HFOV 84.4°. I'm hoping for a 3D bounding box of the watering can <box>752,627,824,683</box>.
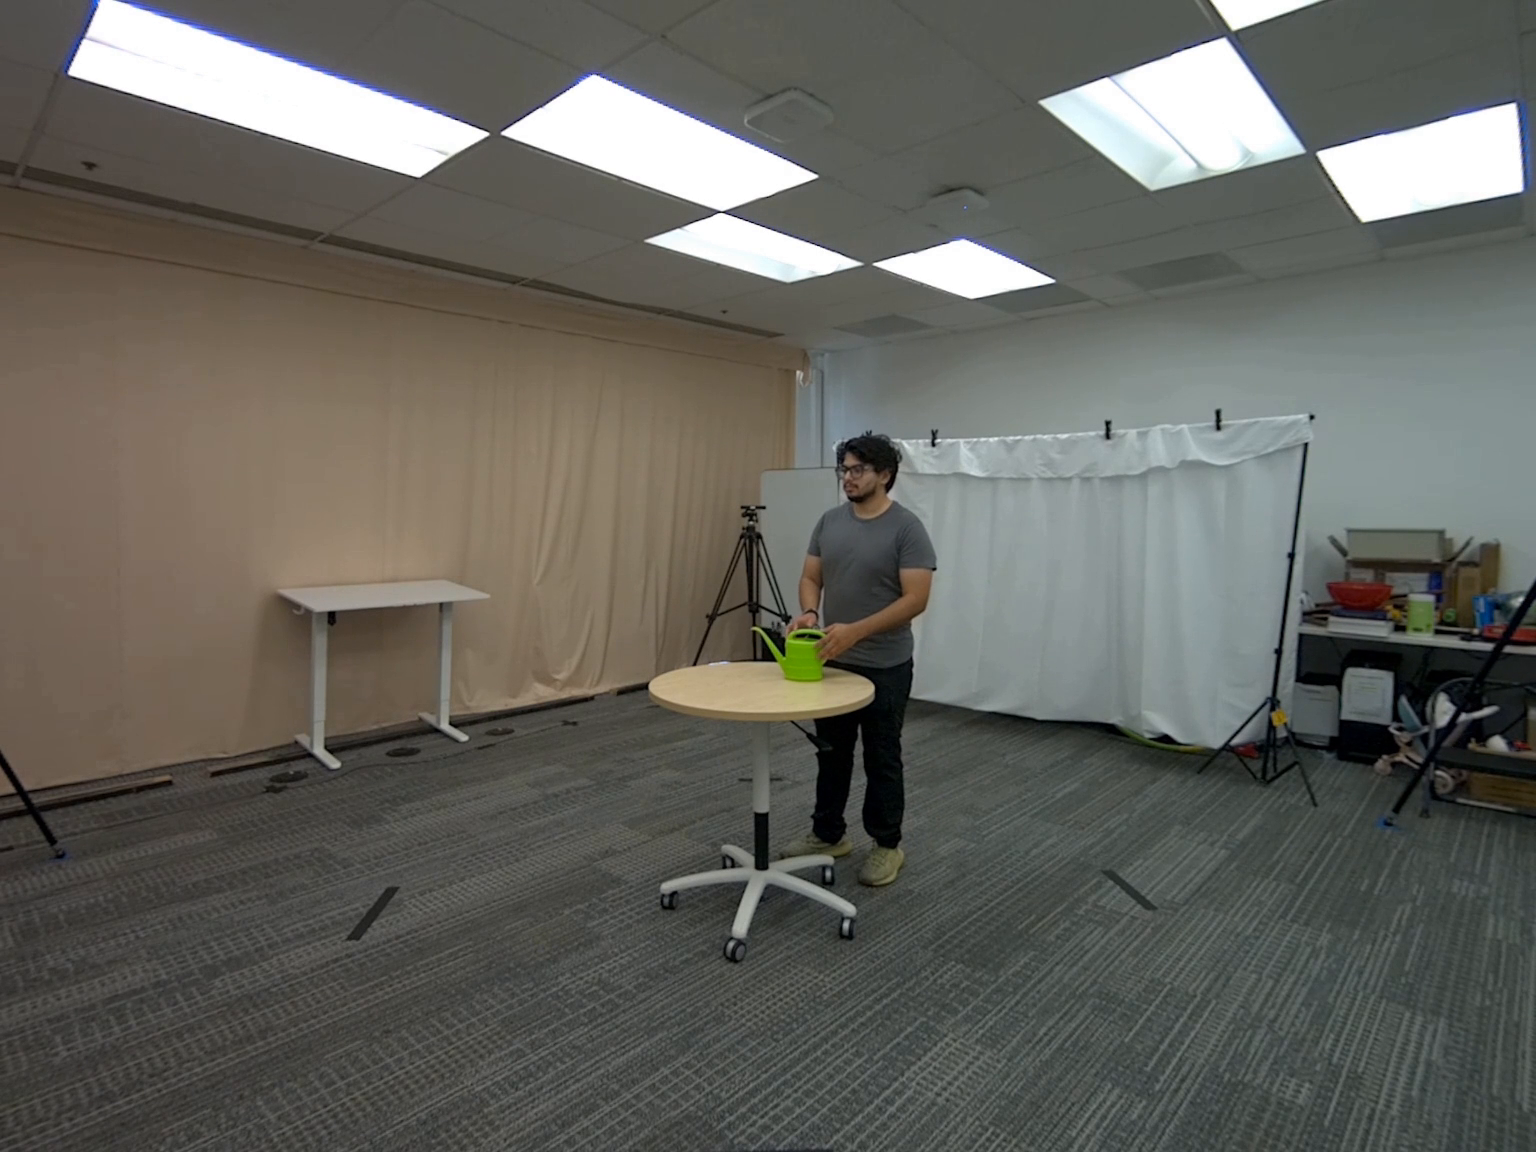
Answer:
[{"bbox_3d":[0.089,0.276,2.970,0.286,0.177,0.095,1,0,28],"label":"watering can"}]
